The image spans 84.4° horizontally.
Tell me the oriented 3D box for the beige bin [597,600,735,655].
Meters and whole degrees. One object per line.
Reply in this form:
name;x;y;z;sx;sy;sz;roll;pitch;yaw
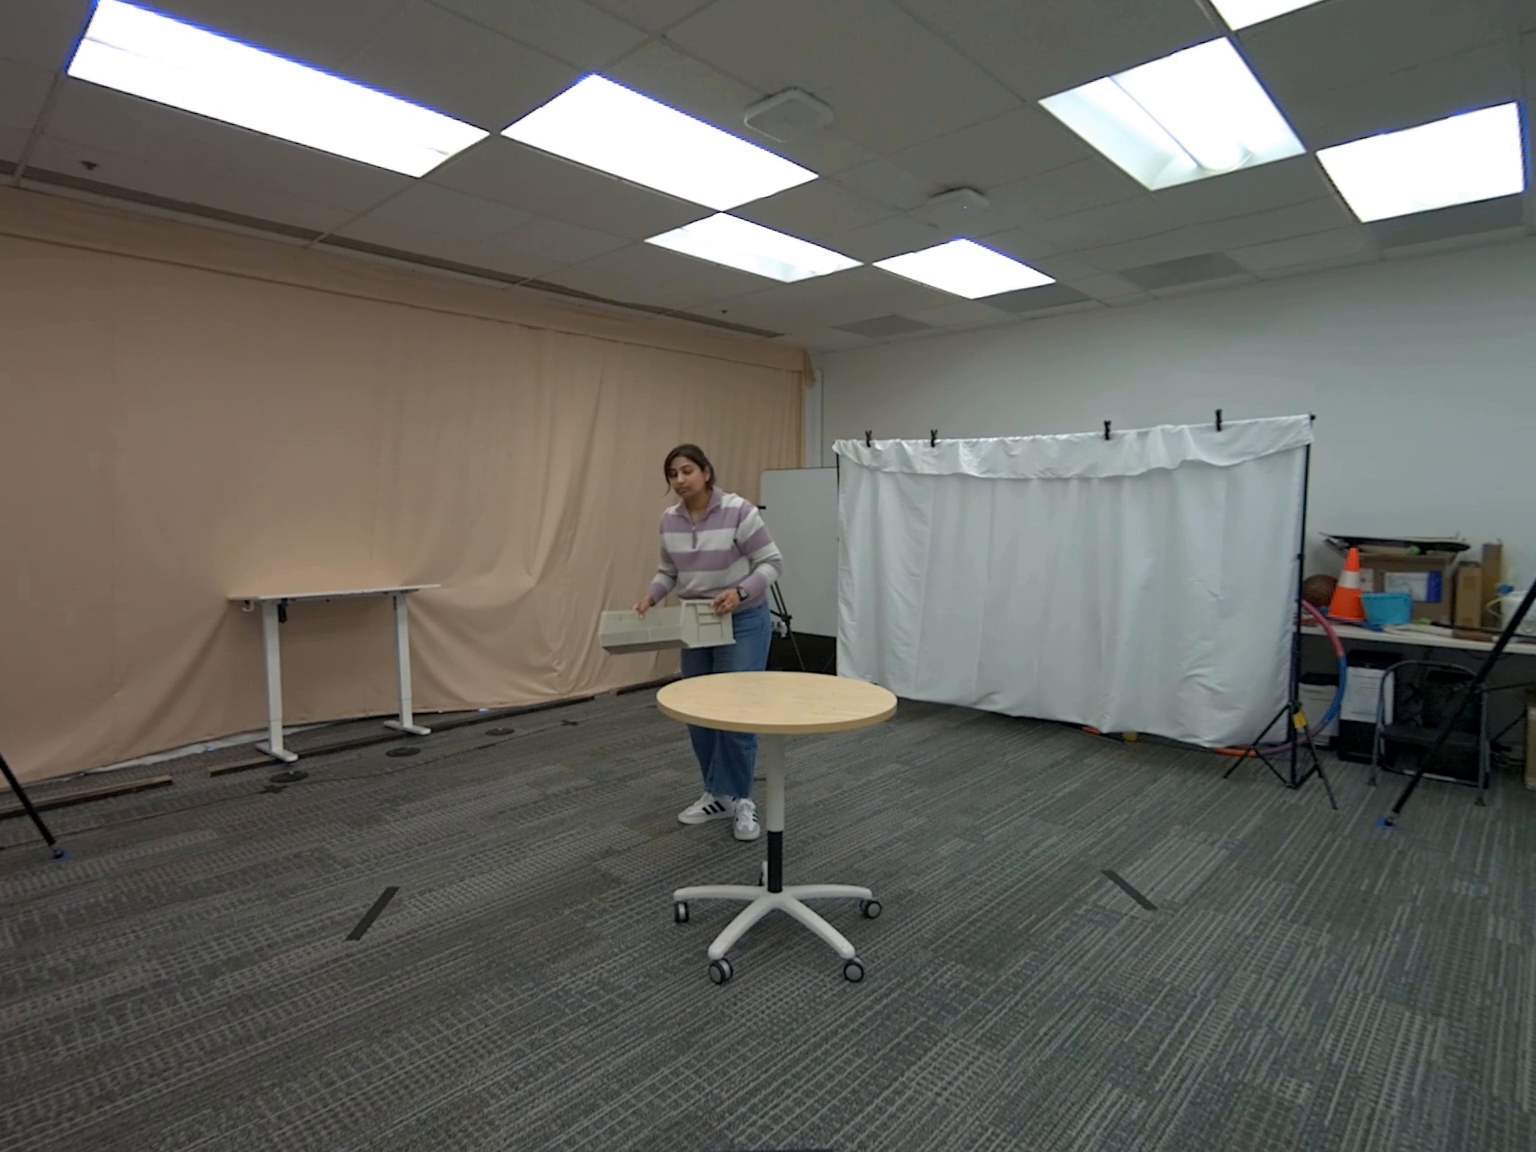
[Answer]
beige bin;-0.397;0.212;3.390;0.434;0.190;0.365;-8;-7;32
